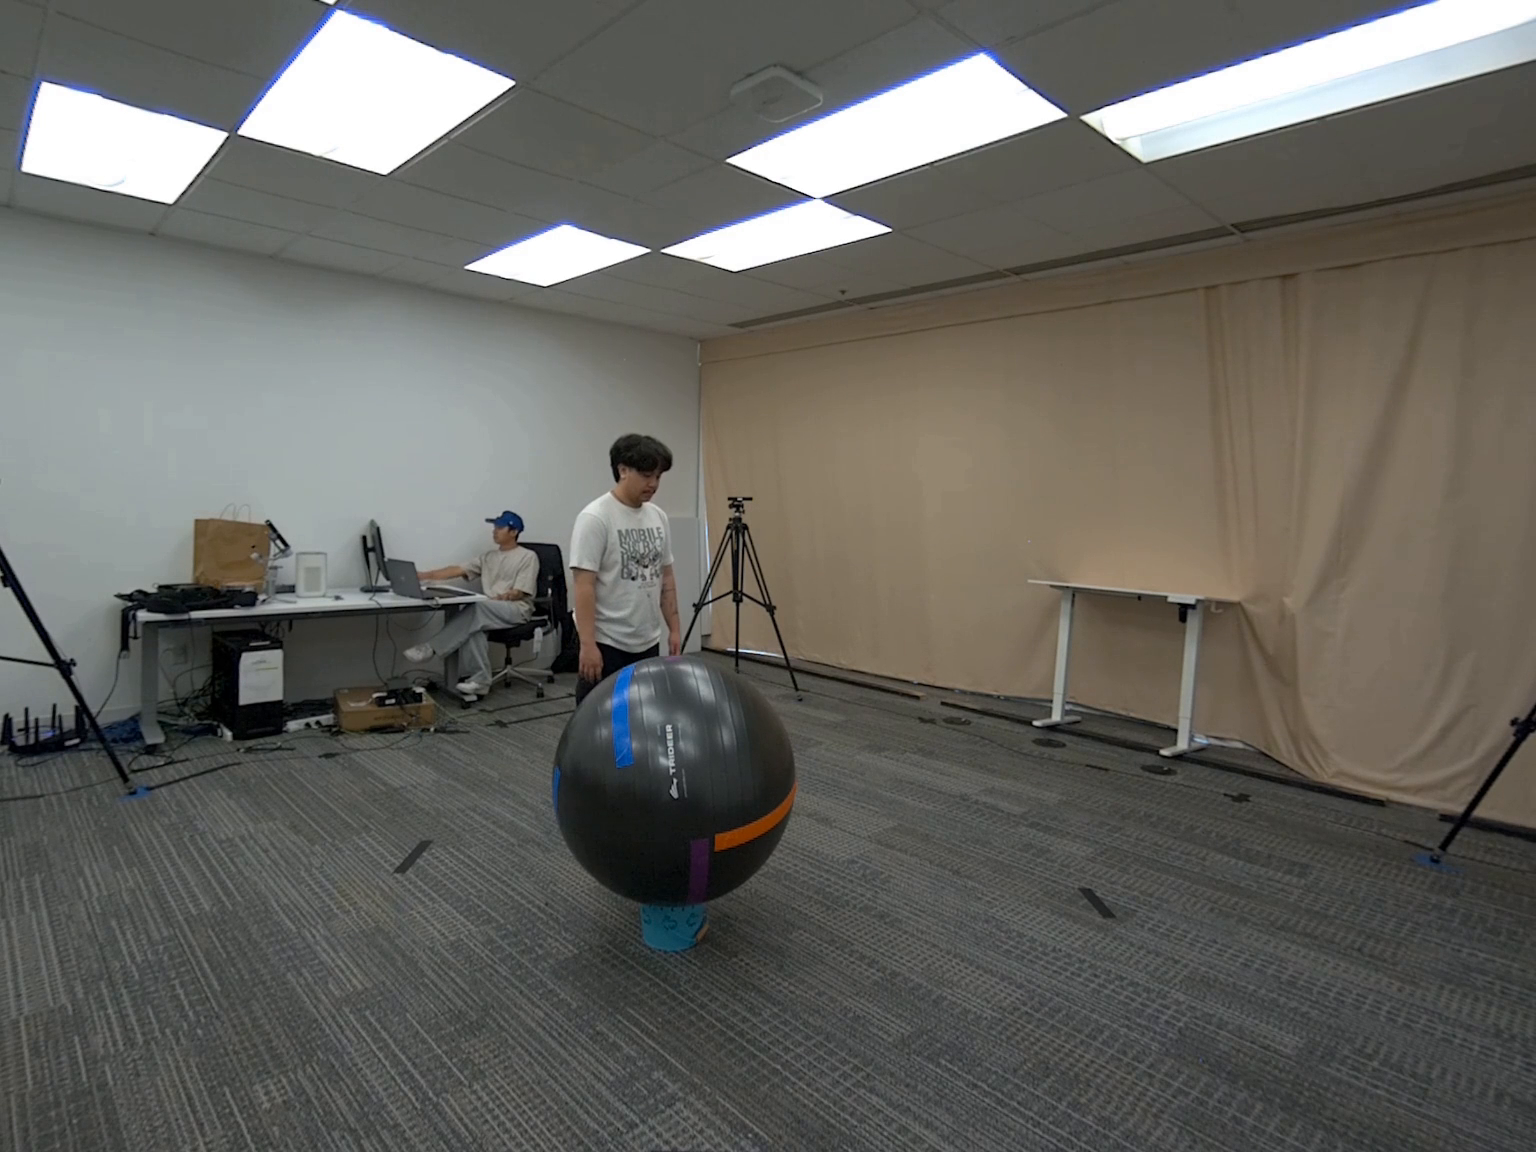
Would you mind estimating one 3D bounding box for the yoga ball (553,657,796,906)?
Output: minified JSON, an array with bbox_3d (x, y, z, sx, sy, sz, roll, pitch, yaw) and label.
[{"bbox_3d":[-0.298,0.634,2.649,0.757,0.756,0.760,1,4,-1],"label":"yoga ball"}]
